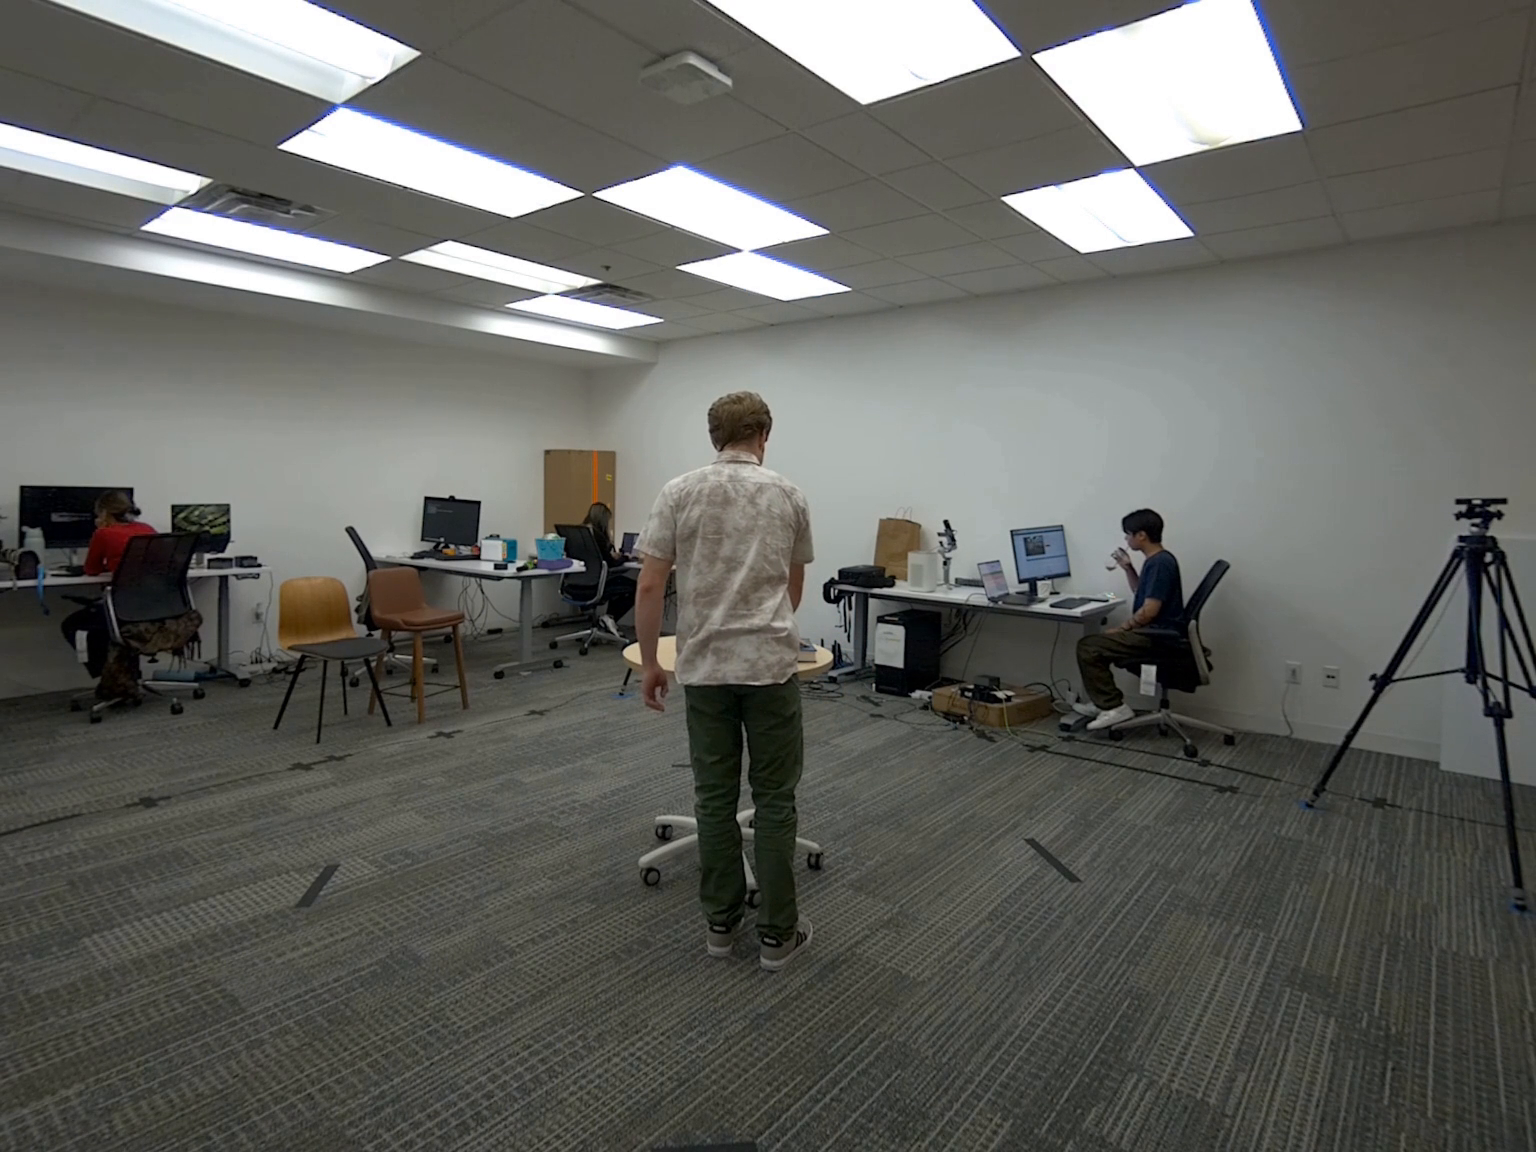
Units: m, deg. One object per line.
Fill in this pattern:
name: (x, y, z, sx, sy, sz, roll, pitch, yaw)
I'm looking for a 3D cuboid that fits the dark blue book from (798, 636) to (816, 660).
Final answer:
dark blue book: (0.069, 0.256, 3.064, 0.162, 0.045, 0.247, 2, 4, -6)
